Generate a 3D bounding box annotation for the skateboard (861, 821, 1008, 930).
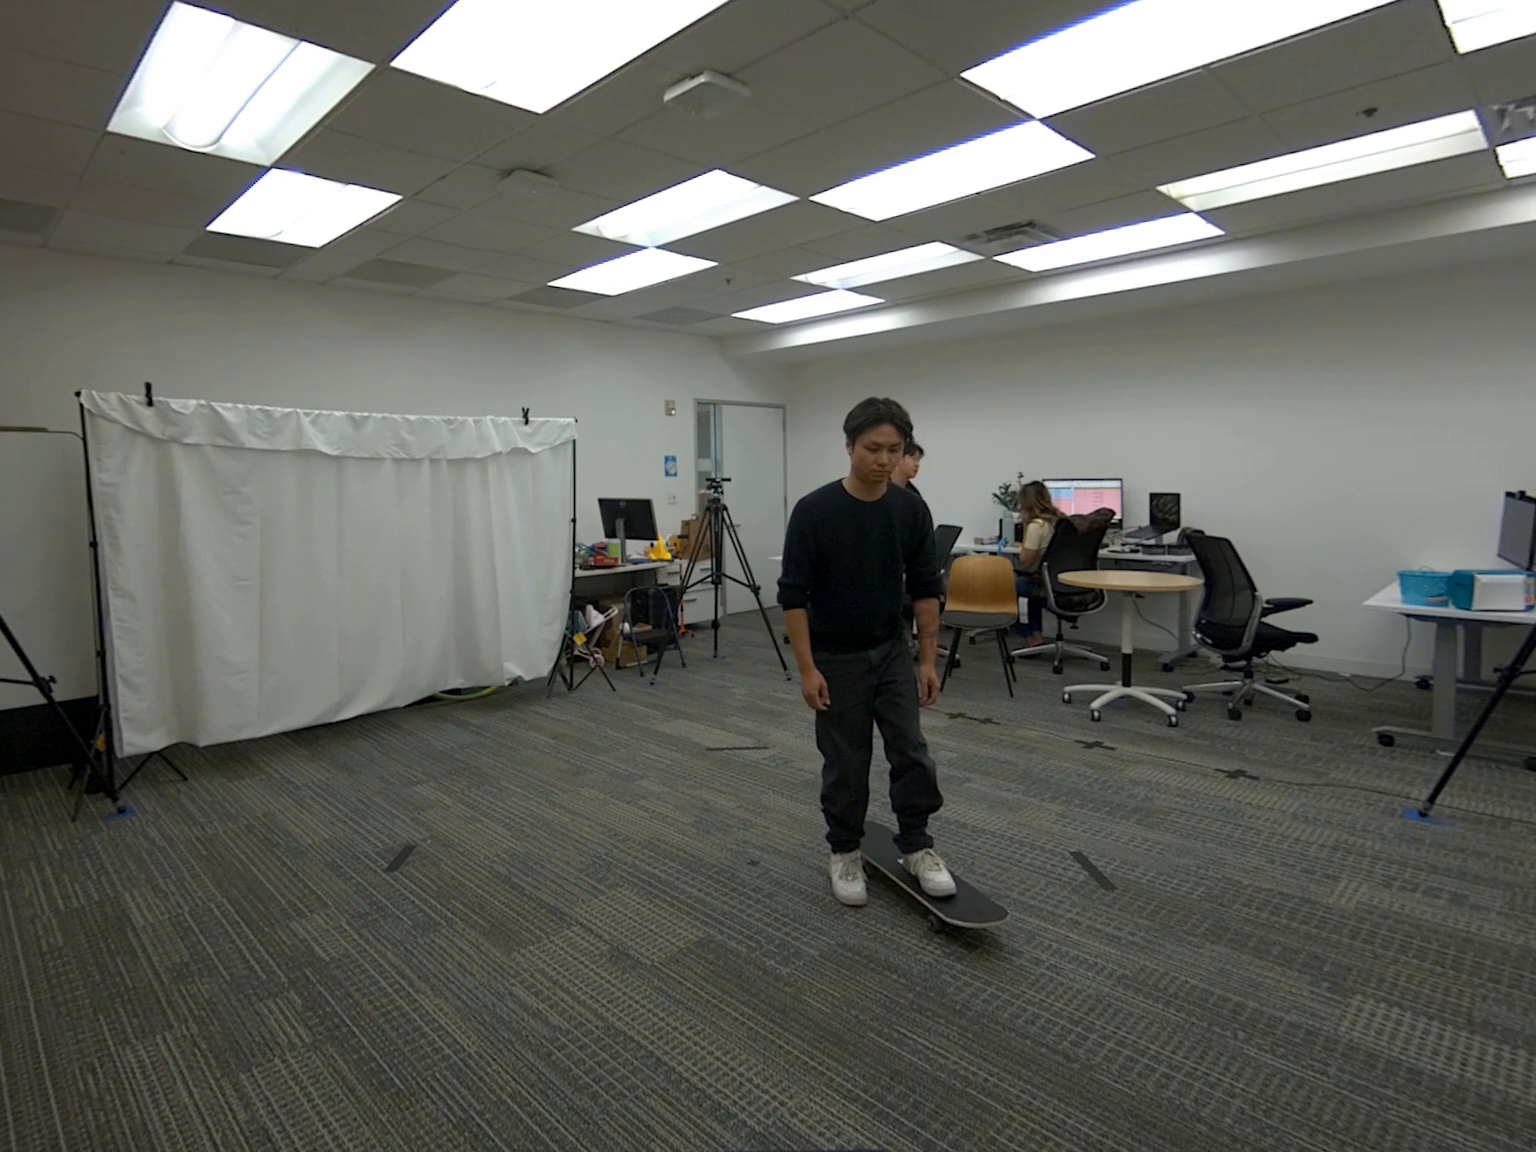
[{"bbox_3d":[0.505,1.008,2.835,0.190,0.110,0.803,-3,6,-22],"label":"skateboard"}]
